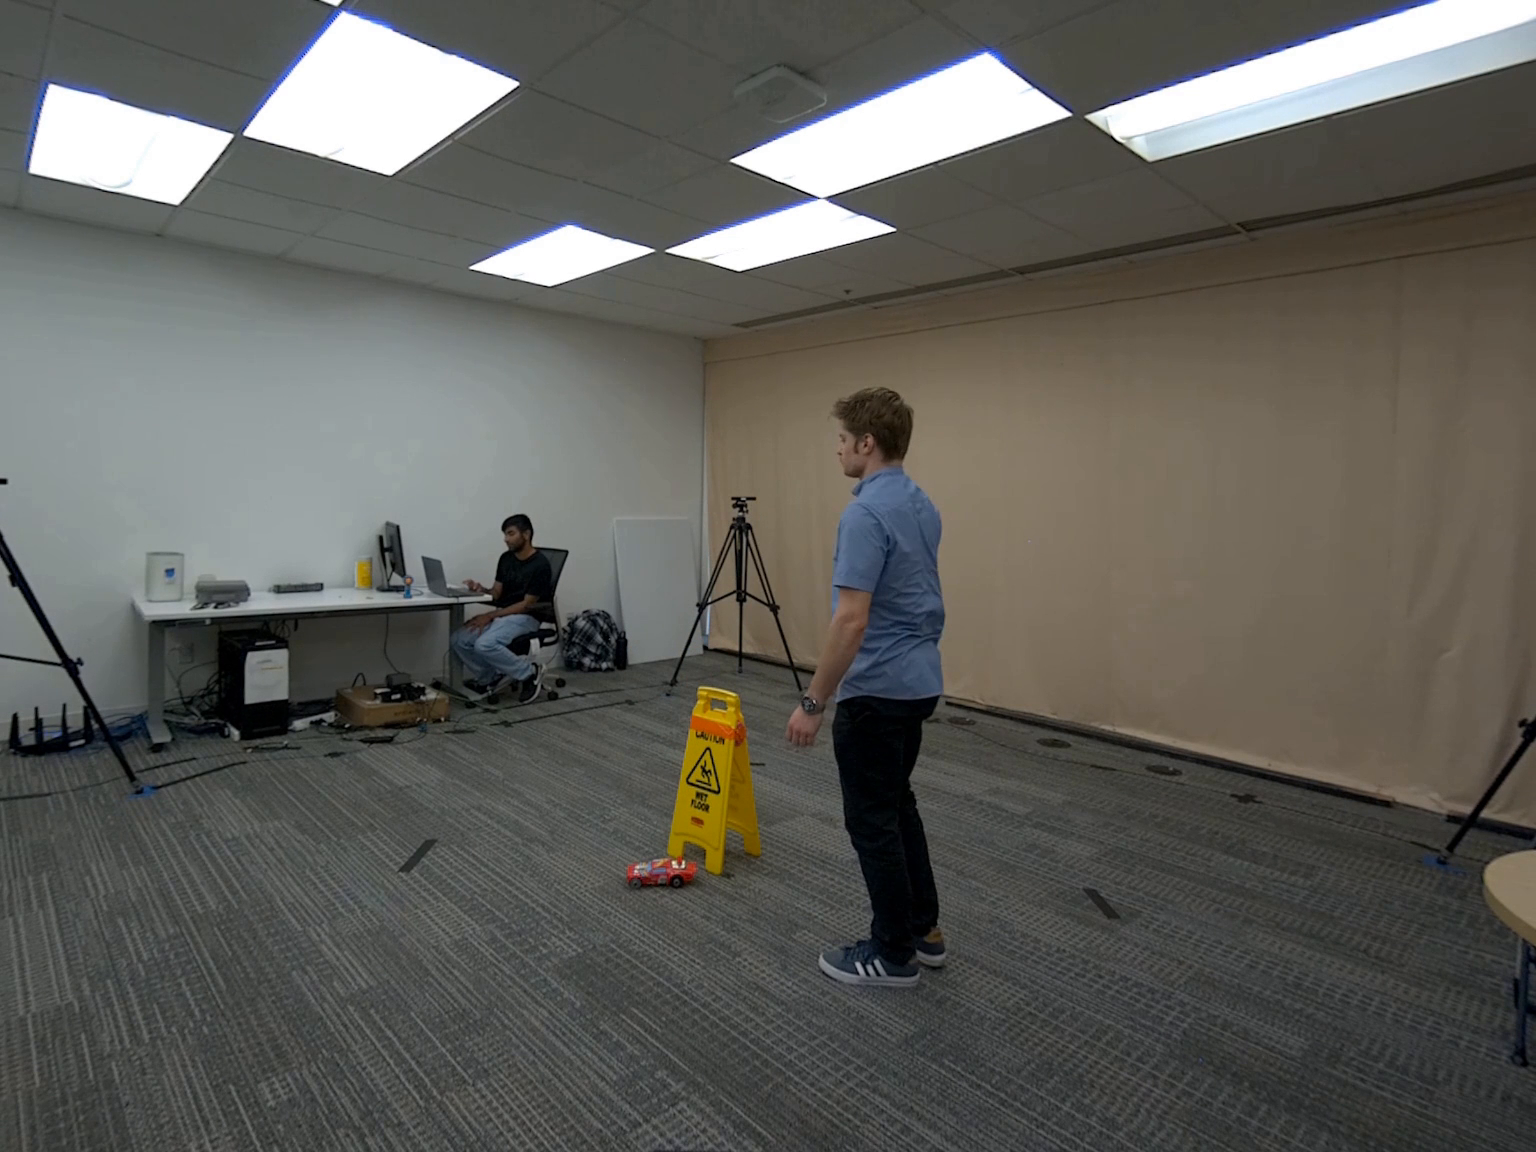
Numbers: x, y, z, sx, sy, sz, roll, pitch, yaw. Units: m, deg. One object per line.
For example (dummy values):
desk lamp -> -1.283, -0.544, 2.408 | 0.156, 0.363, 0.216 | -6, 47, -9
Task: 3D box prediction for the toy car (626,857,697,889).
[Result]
toy car -> -0.388, 1.075, 3.040 | 0.254, 0.083, 0.131 | -9, 7, -2
